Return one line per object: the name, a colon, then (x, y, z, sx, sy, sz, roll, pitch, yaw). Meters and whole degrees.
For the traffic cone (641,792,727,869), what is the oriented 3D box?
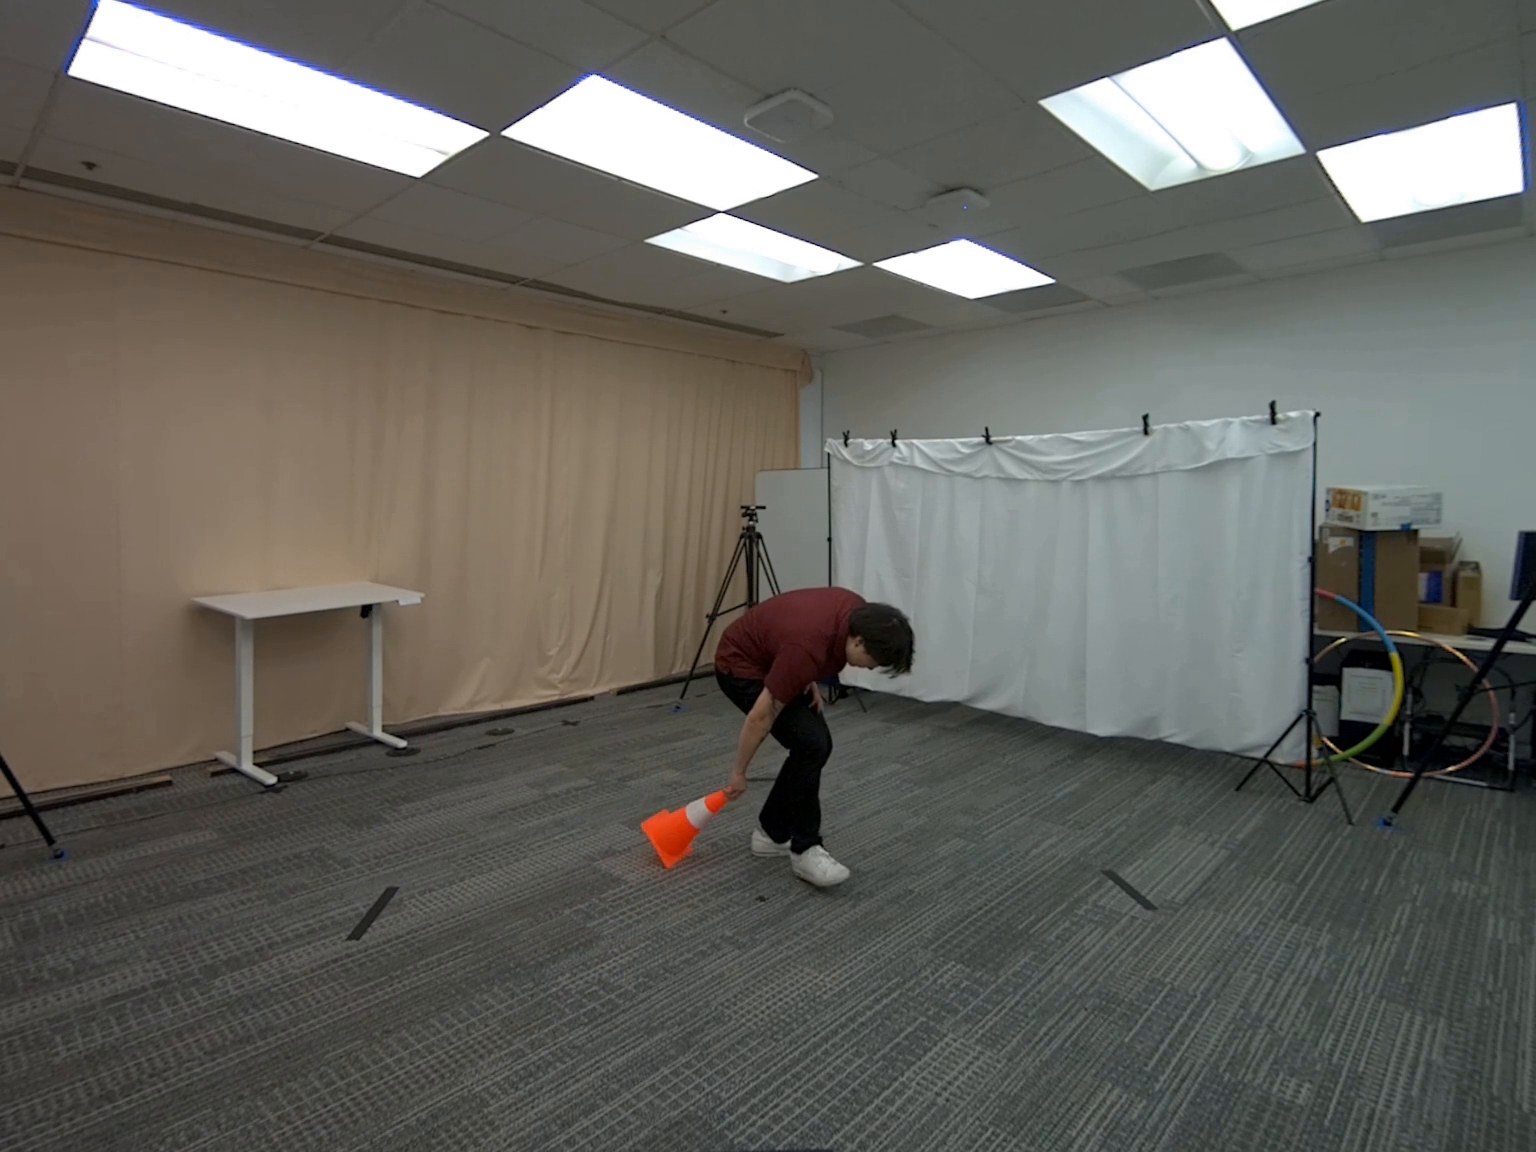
traffic cone: (-0.270, 0.929, 3.266, 0.387, 0.206, 0.201, -38, -10, 17)
